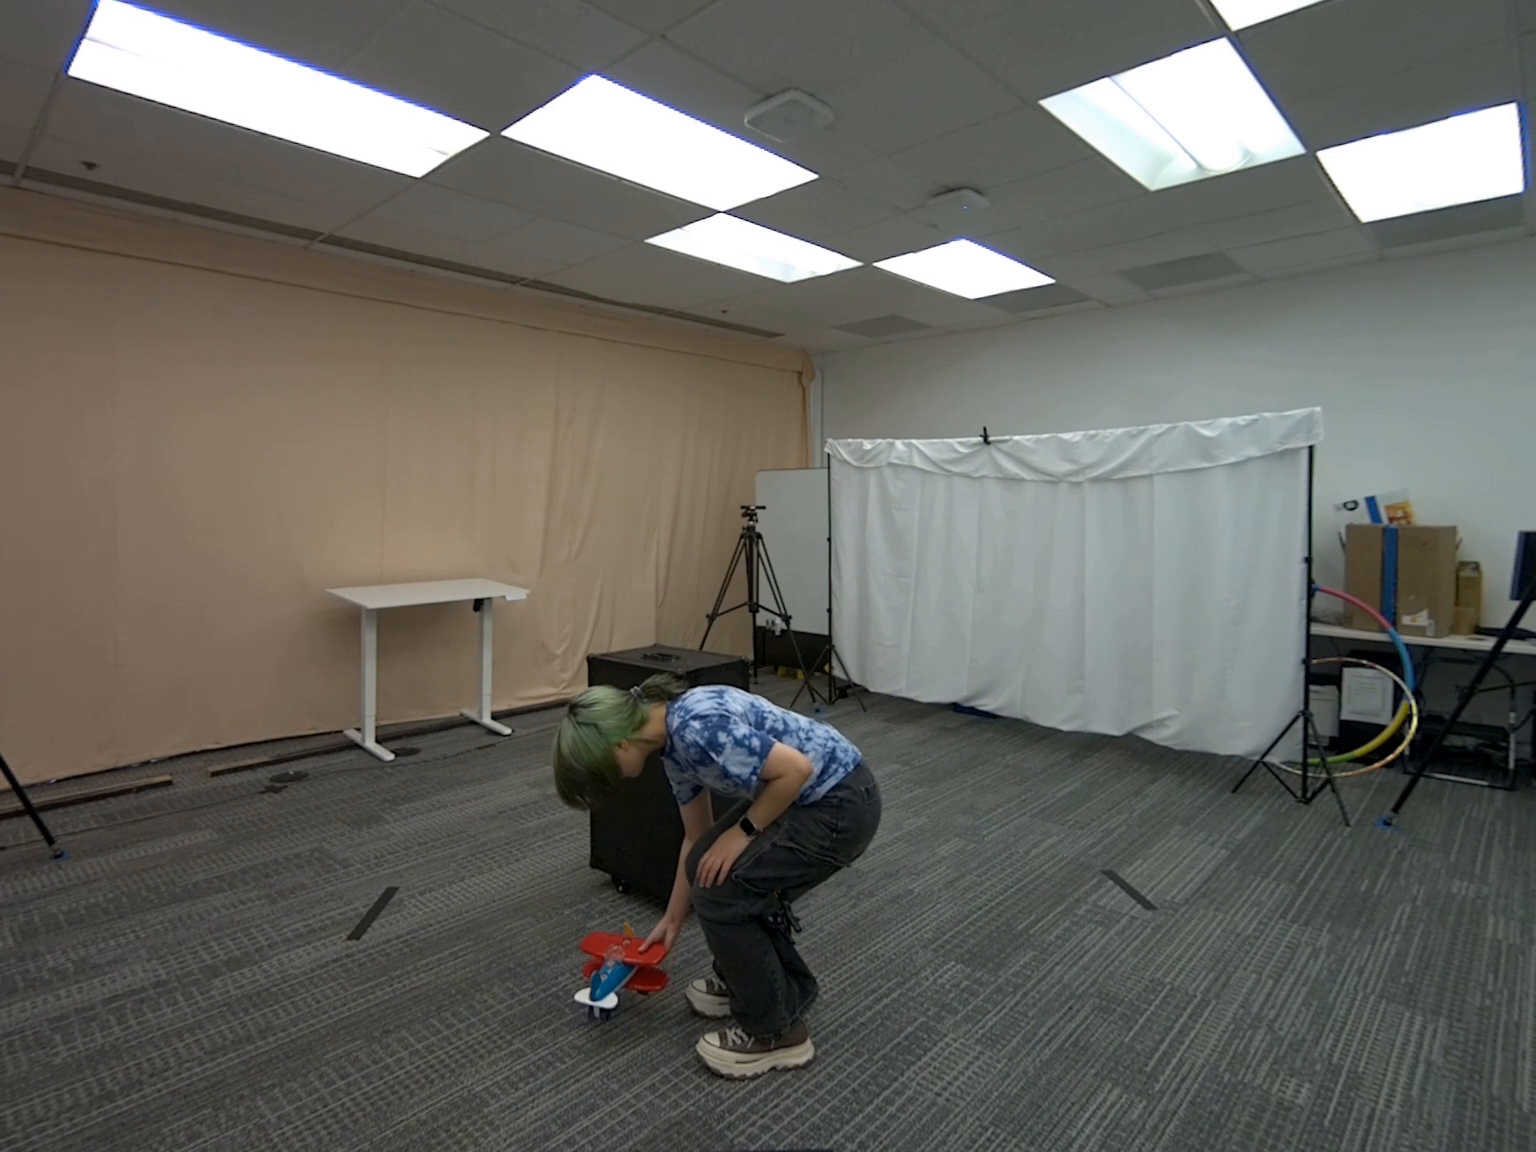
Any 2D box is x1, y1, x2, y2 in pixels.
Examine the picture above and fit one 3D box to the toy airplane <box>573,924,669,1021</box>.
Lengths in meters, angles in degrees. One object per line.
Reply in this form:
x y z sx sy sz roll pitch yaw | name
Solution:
-0.391 1.077 2.275 0.249 0.157 0.260 1 -2 -7 | toy airplane
